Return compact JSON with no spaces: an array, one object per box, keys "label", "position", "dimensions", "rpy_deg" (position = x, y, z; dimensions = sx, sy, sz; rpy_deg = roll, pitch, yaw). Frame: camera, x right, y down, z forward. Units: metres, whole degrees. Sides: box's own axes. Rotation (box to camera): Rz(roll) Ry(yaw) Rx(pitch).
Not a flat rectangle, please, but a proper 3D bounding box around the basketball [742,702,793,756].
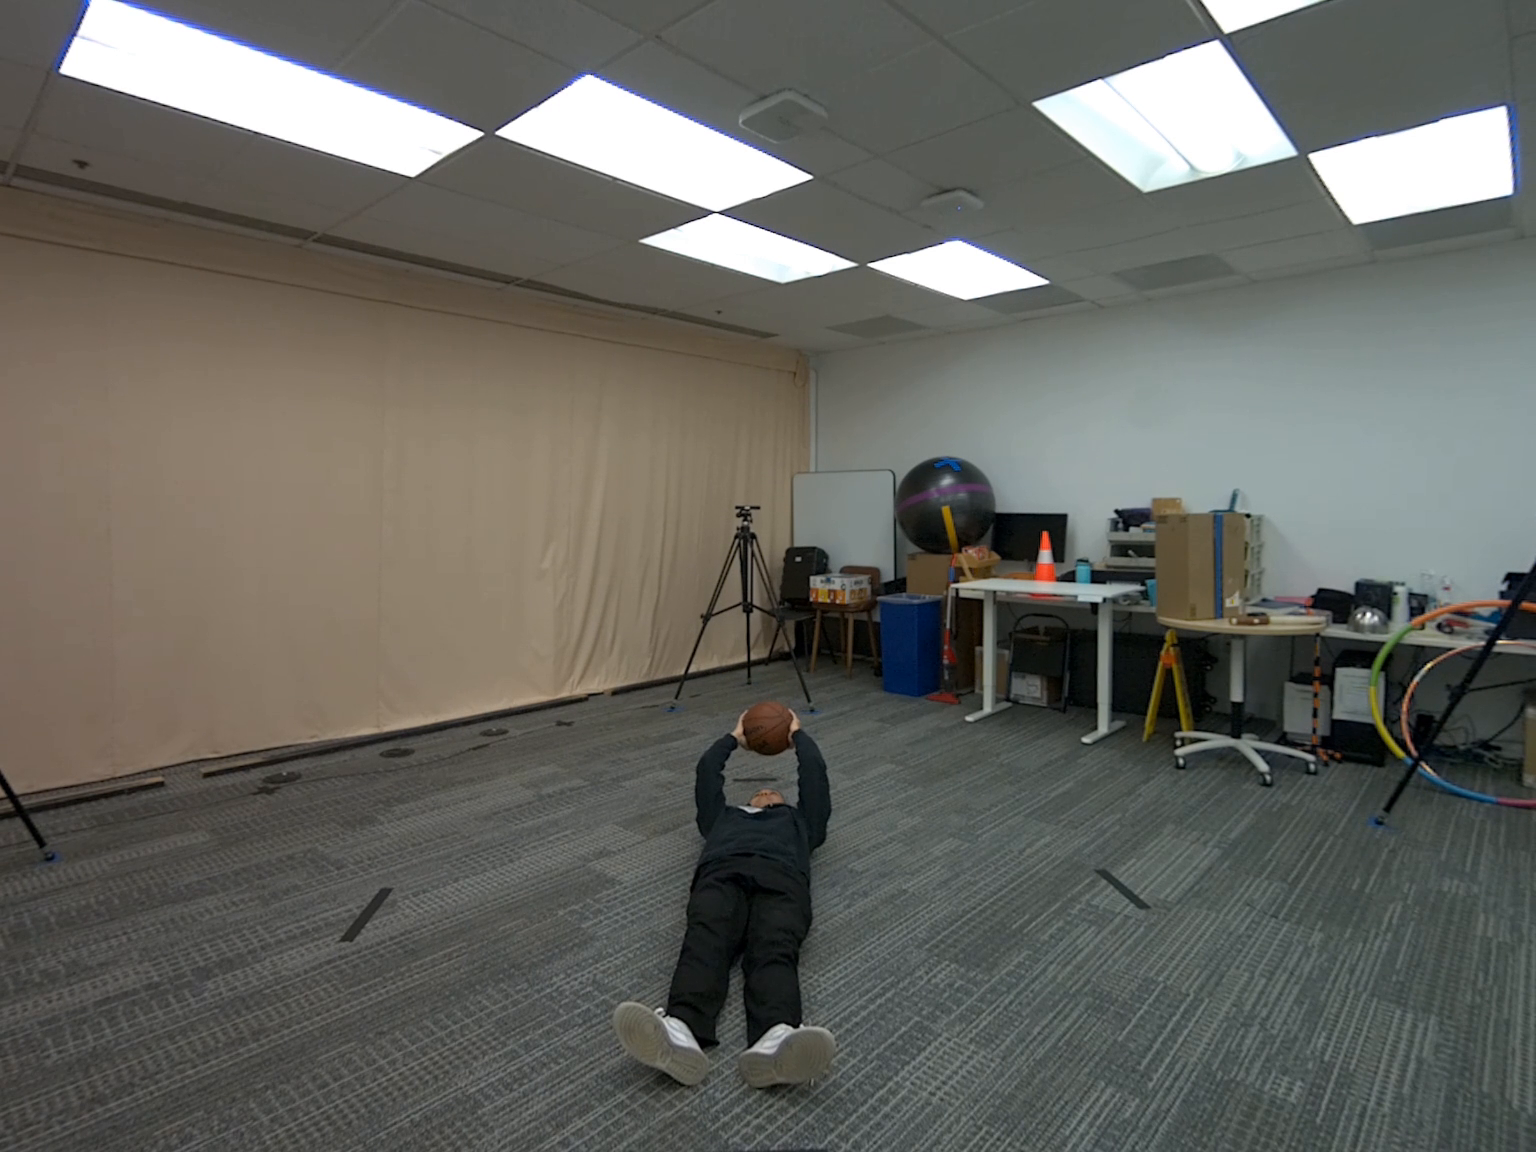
[{"label":"basketball","position":[0.011,0.671,3.734],"dimensions":[0.236,0.235,0.237],"rpy_deg":[0,4,-2]}]
